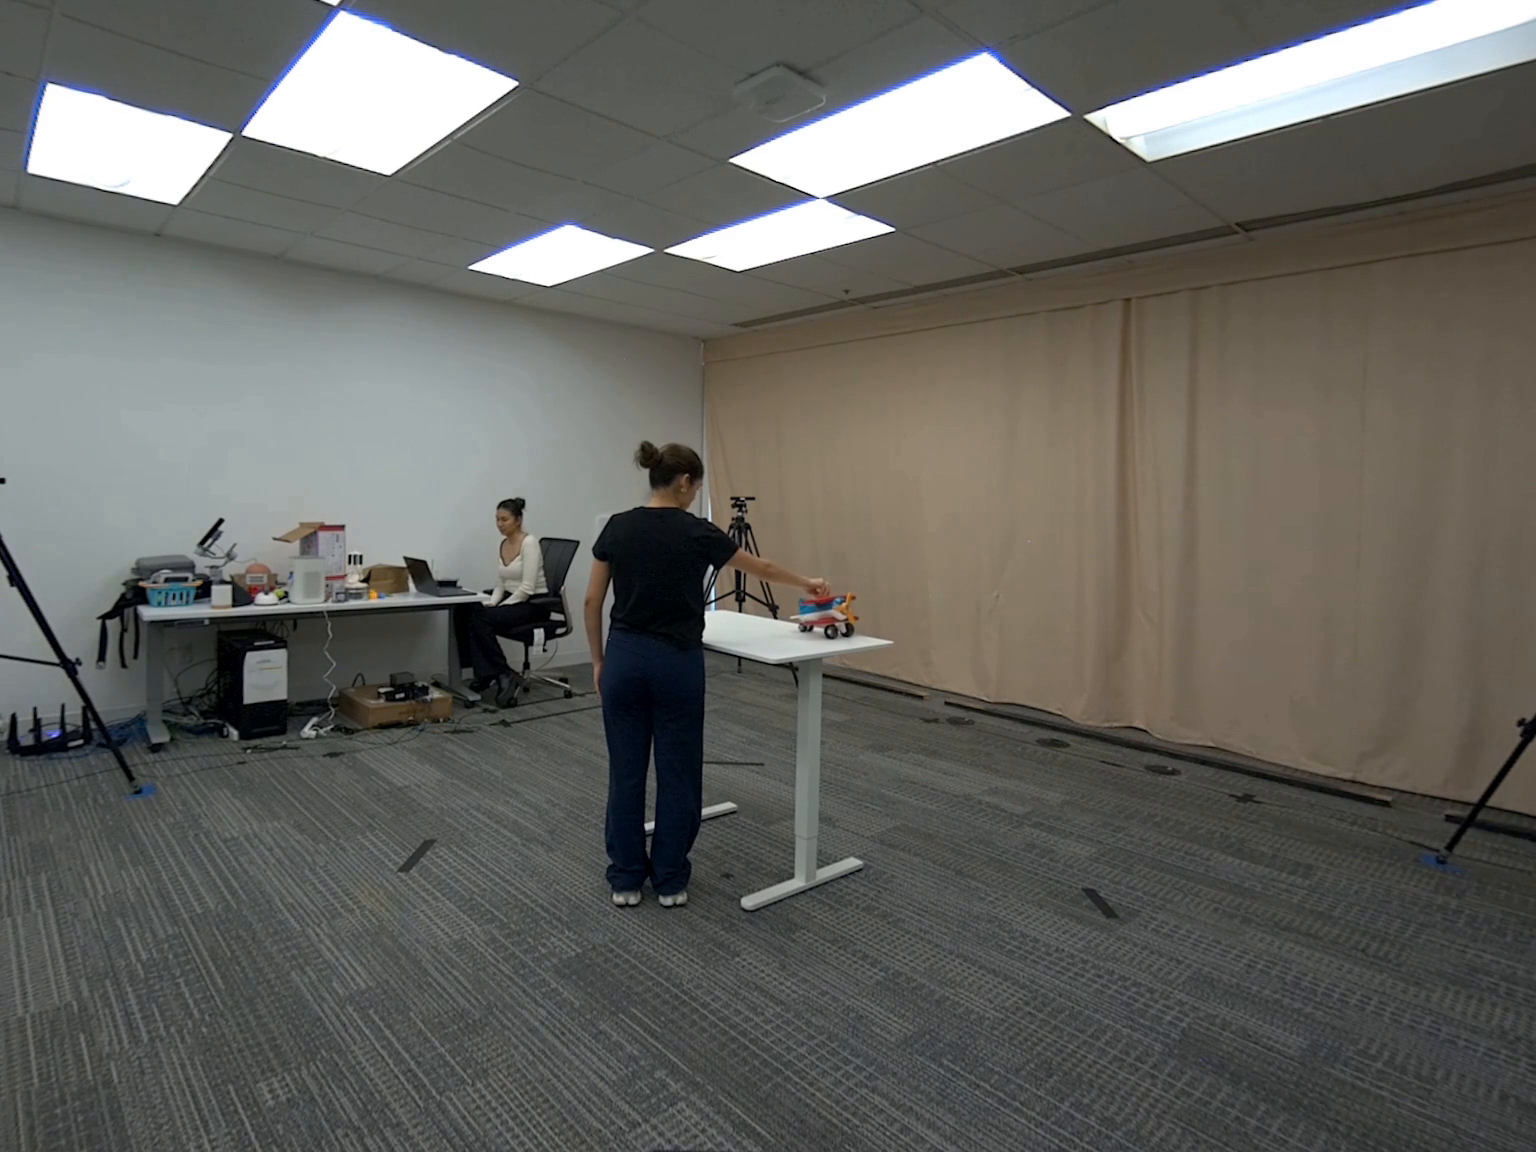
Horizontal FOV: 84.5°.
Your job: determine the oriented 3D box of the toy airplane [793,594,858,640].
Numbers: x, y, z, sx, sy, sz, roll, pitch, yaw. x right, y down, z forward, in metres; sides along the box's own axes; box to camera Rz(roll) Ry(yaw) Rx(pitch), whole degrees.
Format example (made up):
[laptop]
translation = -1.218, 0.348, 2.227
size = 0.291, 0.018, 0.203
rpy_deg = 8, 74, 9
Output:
[toy airplane]
translation = 0.191, 0.150, 3.169
size = 0.264, 0.156, 0.247
rpy_deg = 4, 7, 22
